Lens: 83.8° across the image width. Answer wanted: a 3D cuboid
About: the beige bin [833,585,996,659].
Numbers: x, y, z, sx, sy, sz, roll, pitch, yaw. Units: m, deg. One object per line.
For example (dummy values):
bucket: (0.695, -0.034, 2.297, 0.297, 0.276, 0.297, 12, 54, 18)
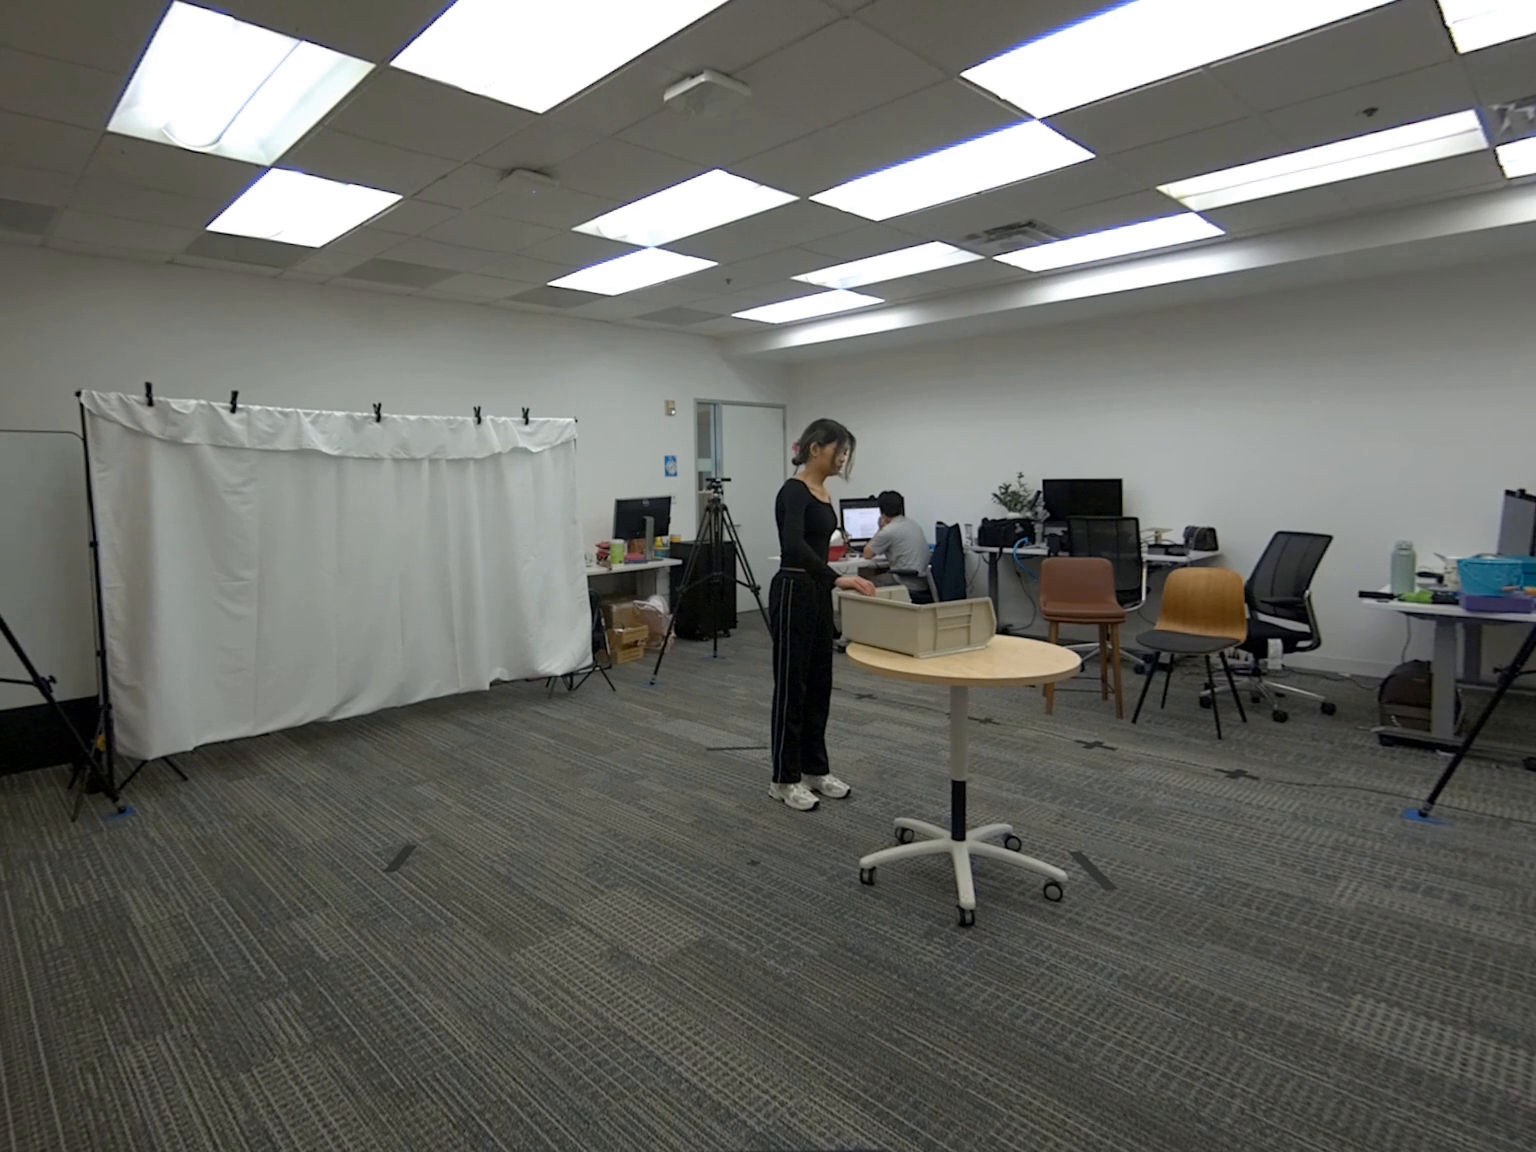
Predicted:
beige bin: (0.528, 0.155, 3.059, 0.368, 0.188, 0.435, -6, 9, -33)
